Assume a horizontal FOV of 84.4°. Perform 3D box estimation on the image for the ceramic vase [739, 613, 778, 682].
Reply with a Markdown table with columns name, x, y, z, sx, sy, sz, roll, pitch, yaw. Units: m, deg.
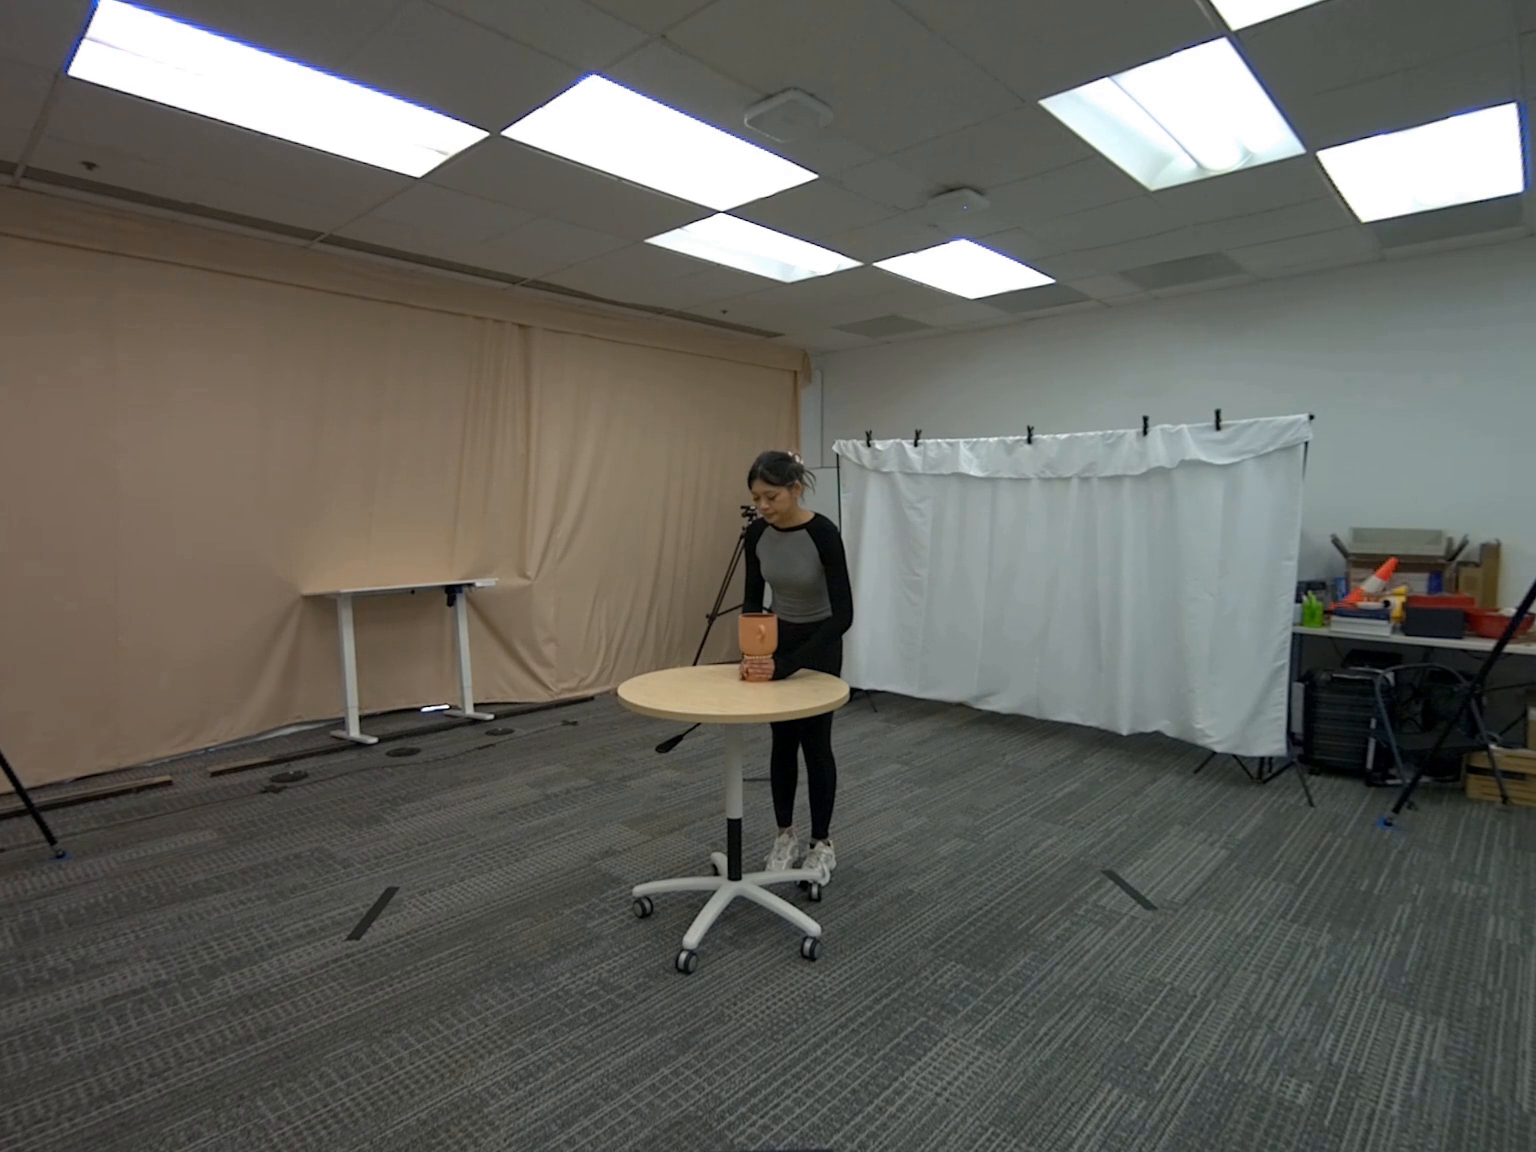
| name | x | y | z | sx | sy | sz | roll | pitch | yaw |
| --- | --- | --- | --- | --- | --- | --- | --- | --- | --- |
| ceramic vase | -0.033 | 0.245 | 2.906 | 0.138 | 0.219 | 0.155 | 2 | 5 | 30 |
